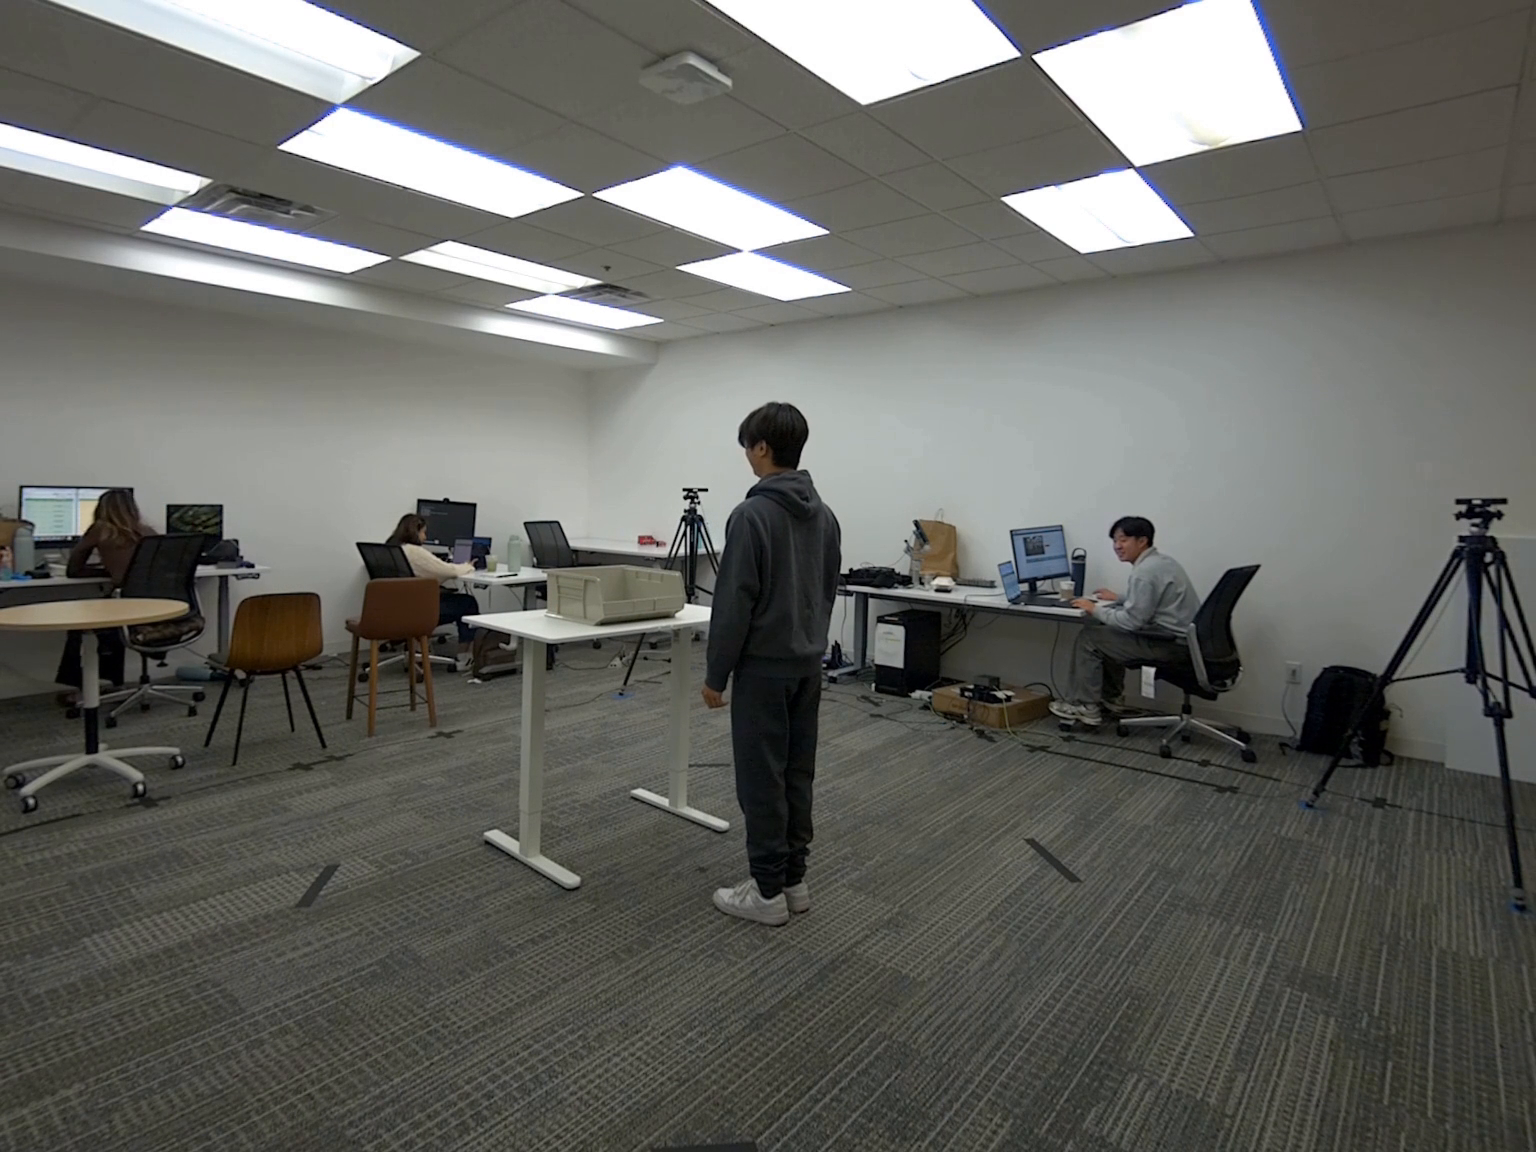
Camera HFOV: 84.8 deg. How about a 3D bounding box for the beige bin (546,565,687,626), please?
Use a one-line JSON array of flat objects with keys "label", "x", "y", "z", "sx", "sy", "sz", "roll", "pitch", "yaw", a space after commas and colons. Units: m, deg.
[{"label": "beige bin", "x": -0.610, "y": 0.071, "z": 3.328, "sx": 0.390, "sy": 0.188, "sz": 0.409, "roll": 5, "pitch": 6, "yaw": 42}]
